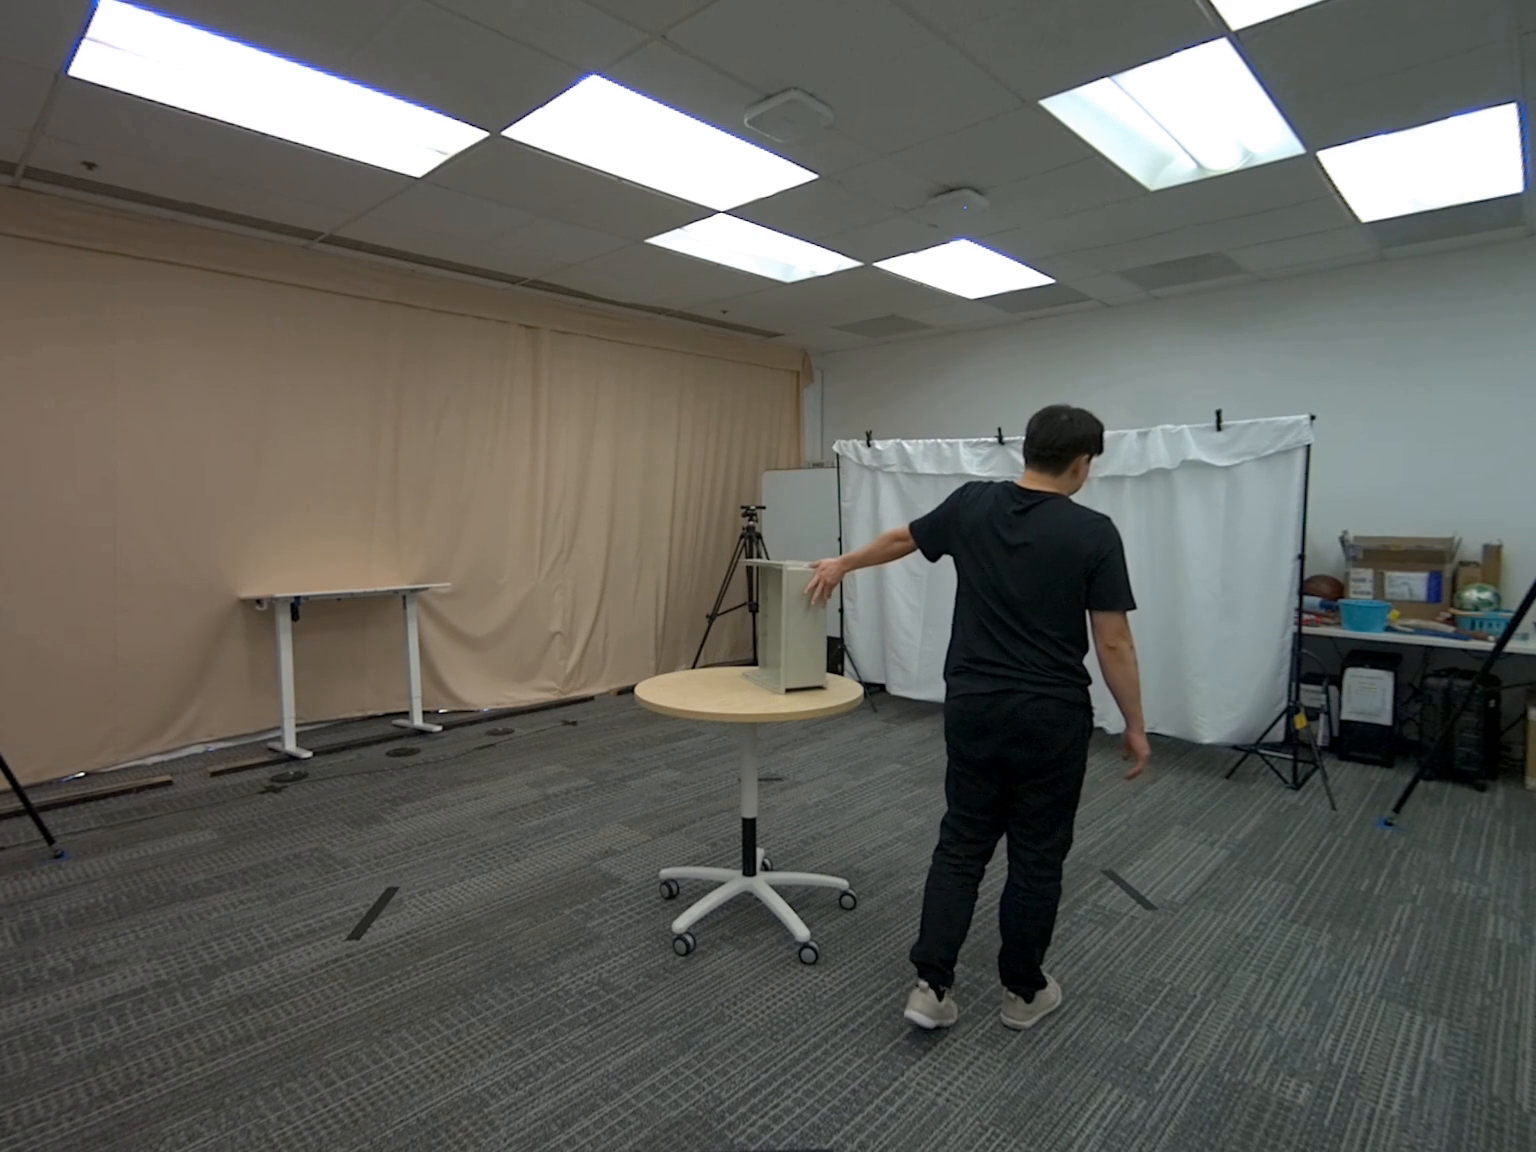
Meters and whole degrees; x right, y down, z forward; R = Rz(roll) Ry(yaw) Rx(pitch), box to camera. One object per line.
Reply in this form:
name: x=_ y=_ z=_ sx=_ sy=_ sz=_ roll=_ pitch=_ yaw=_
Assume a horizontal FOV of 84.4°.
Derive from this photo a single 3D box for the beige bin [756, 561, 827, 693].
beige bin: x=0.040 y=0.160 z=2.893 sx=0.184 sy=0.422 sz=0.387 roll=1 pitch=1 yaw=-25
